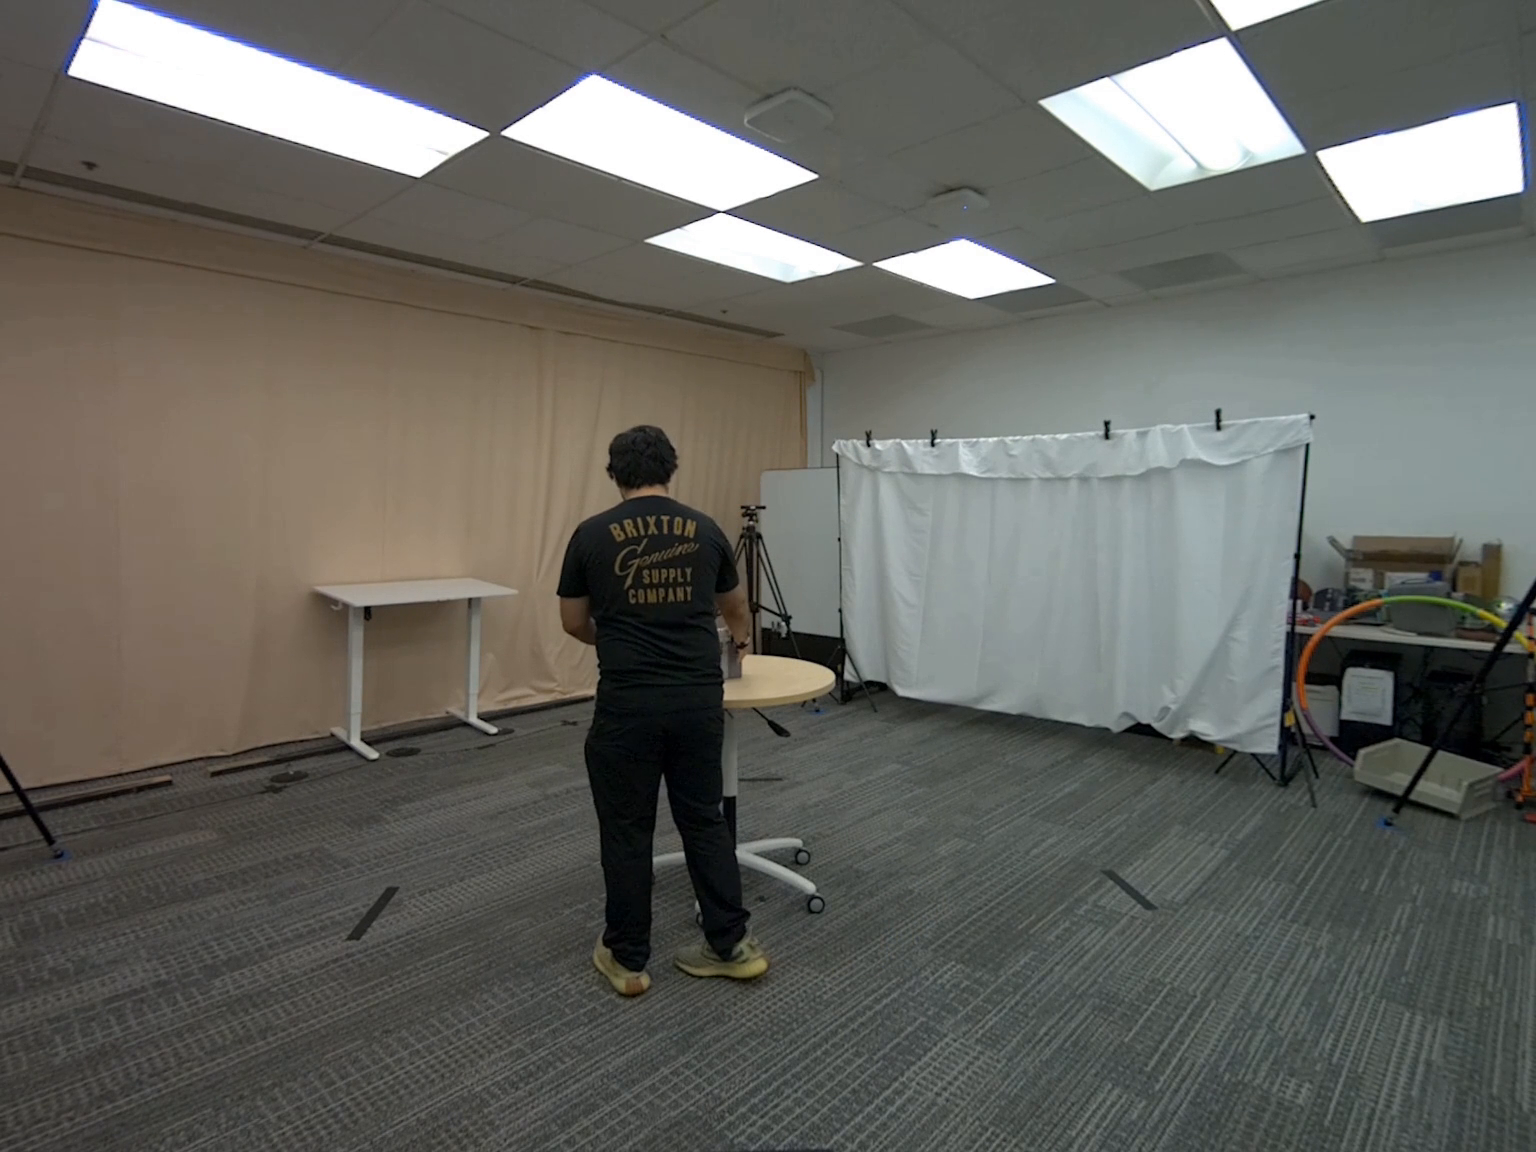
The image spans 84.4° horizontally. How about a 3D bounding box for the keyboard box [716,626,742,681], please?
[{"bbox_3d":[-0.295,0.284,2.907,0.426,0.175,0.061,-2,5,-24],"label":"keyboard box"}]
